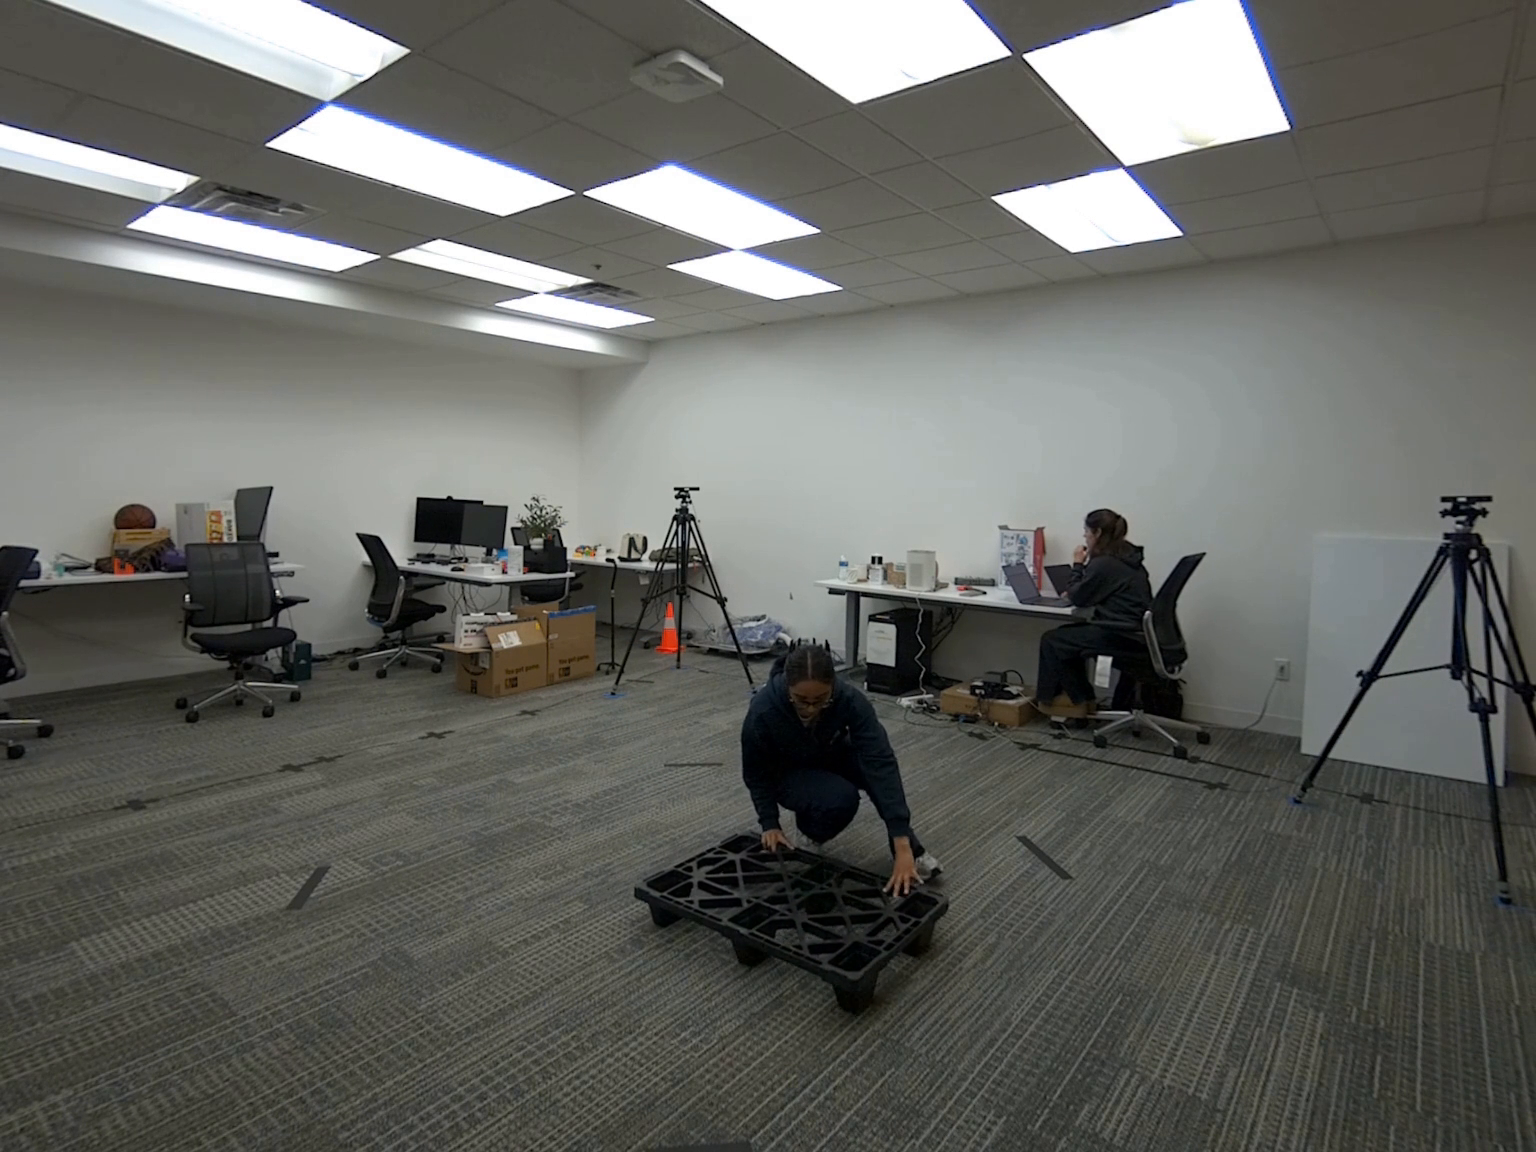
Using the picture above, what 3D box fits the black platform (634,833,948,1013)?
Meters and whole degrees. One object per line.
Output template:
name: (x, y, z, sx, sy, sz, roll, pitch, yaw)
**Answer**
black platform: (0.054, 1.047, 2.665, 0.832, 0.143, 0.588, 6, 7, 36)
